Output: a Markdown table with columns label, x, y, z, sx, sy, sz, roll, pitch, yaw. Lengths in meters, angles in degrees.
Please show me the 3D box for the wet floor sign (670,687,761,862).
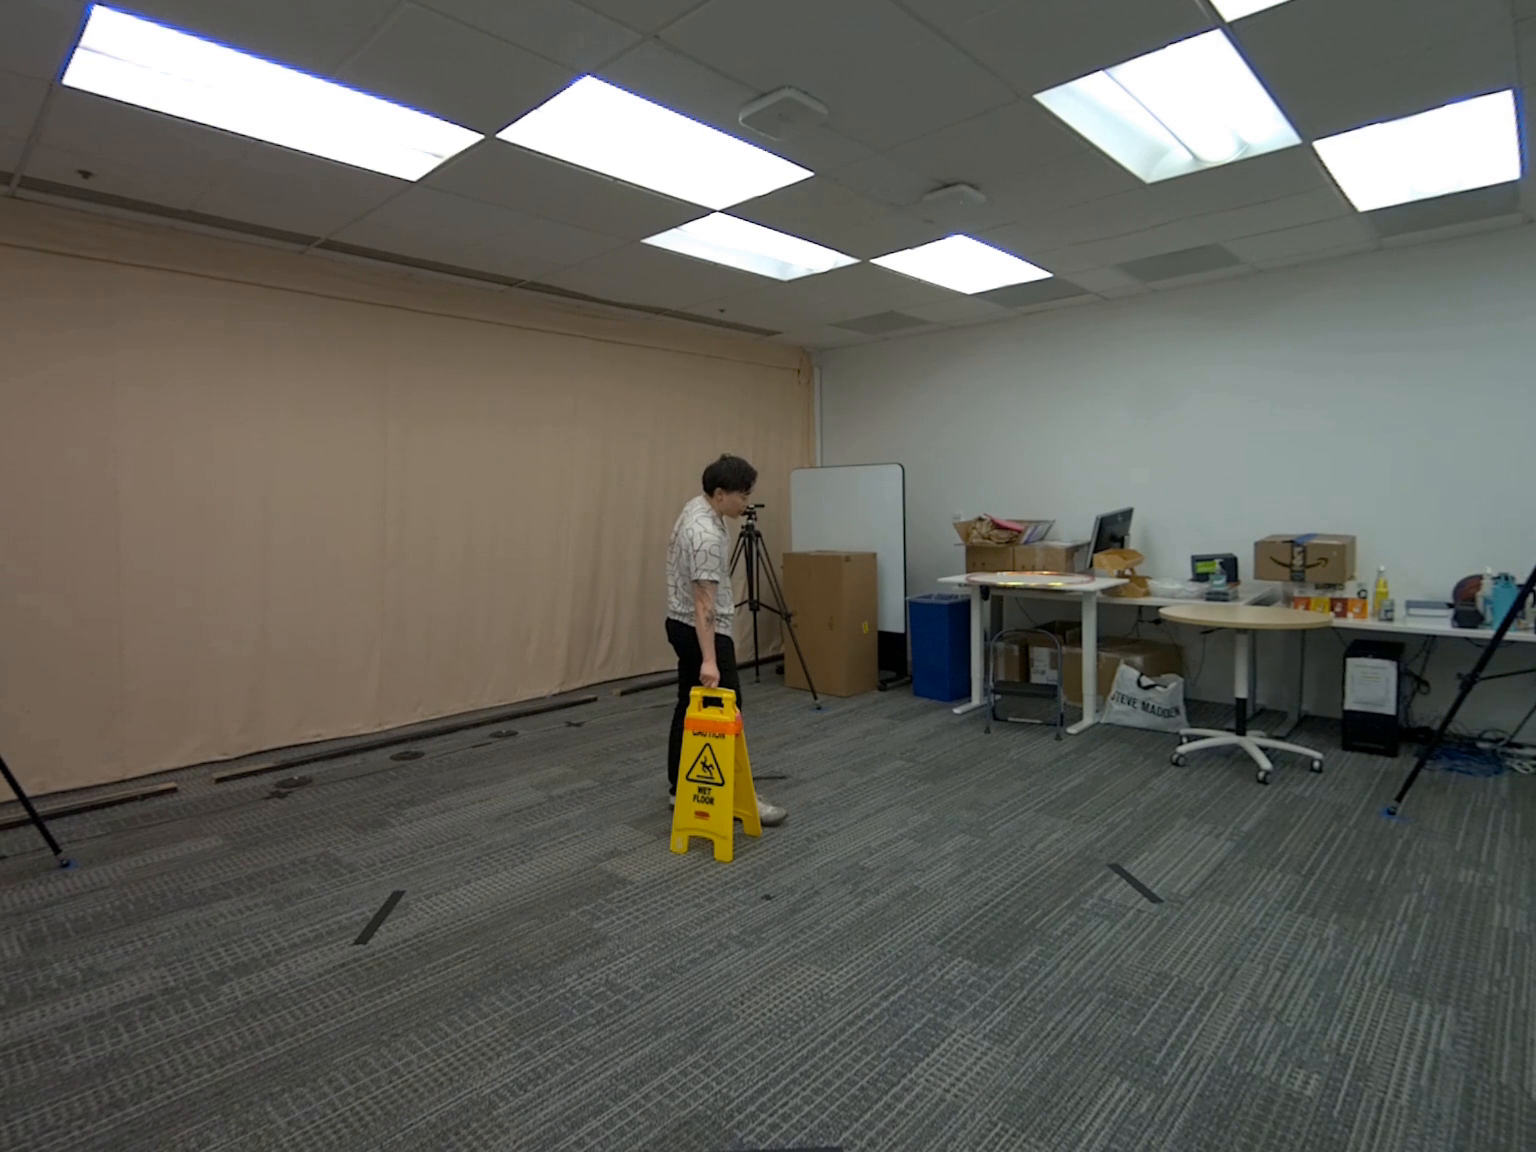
| label | x | y | z | sx | sy | sz | roll | pitch | yaw |
| --- | --- | --- | --- | --- | --- | --- | --- | --- | --- |
| wet floor sign | -0.217 | 0.778 | 3.453 | 0.289 | 0.644 | 0.283 | -1 | 4 | 25 |
